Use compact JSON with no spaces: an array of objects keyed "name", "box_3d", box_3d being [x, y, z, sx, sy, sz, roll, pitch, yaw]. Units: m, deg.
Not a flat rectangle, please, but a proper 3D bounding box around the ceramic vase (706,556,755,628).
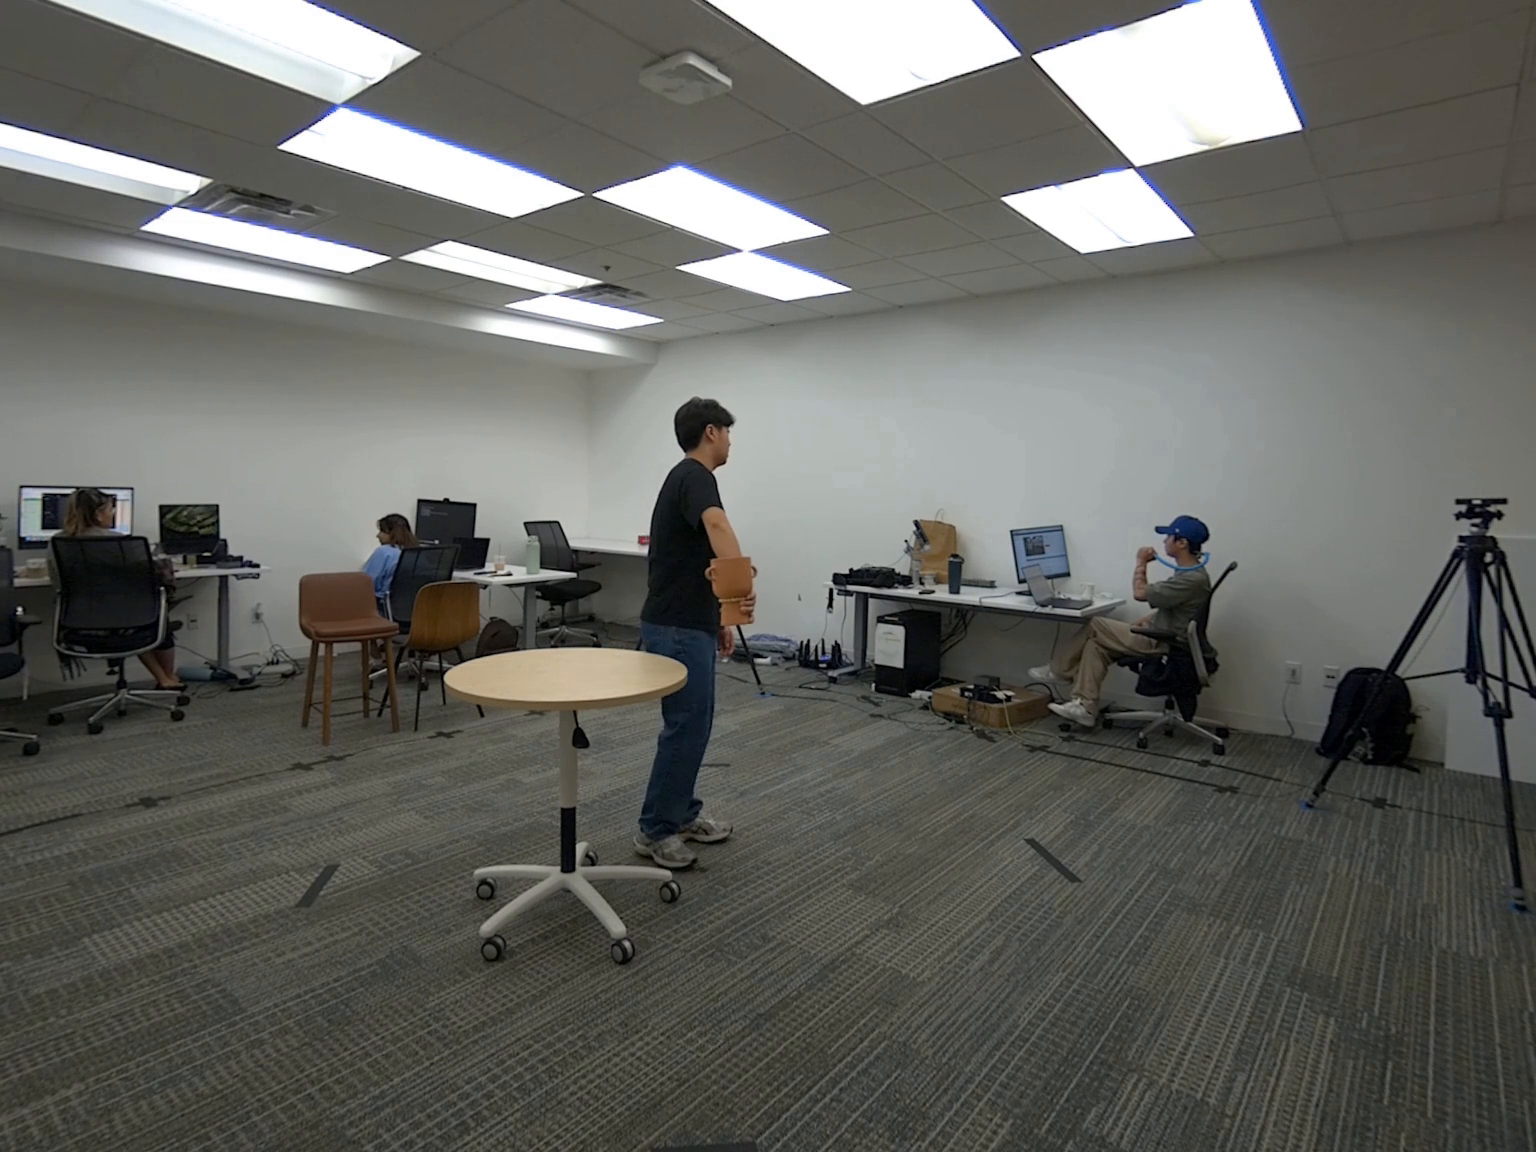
[{"name":"ceramic vase","box_3d":[-0.127,0.045,2.805,0.160,0.220,0.133,-4,-3,8]}]
